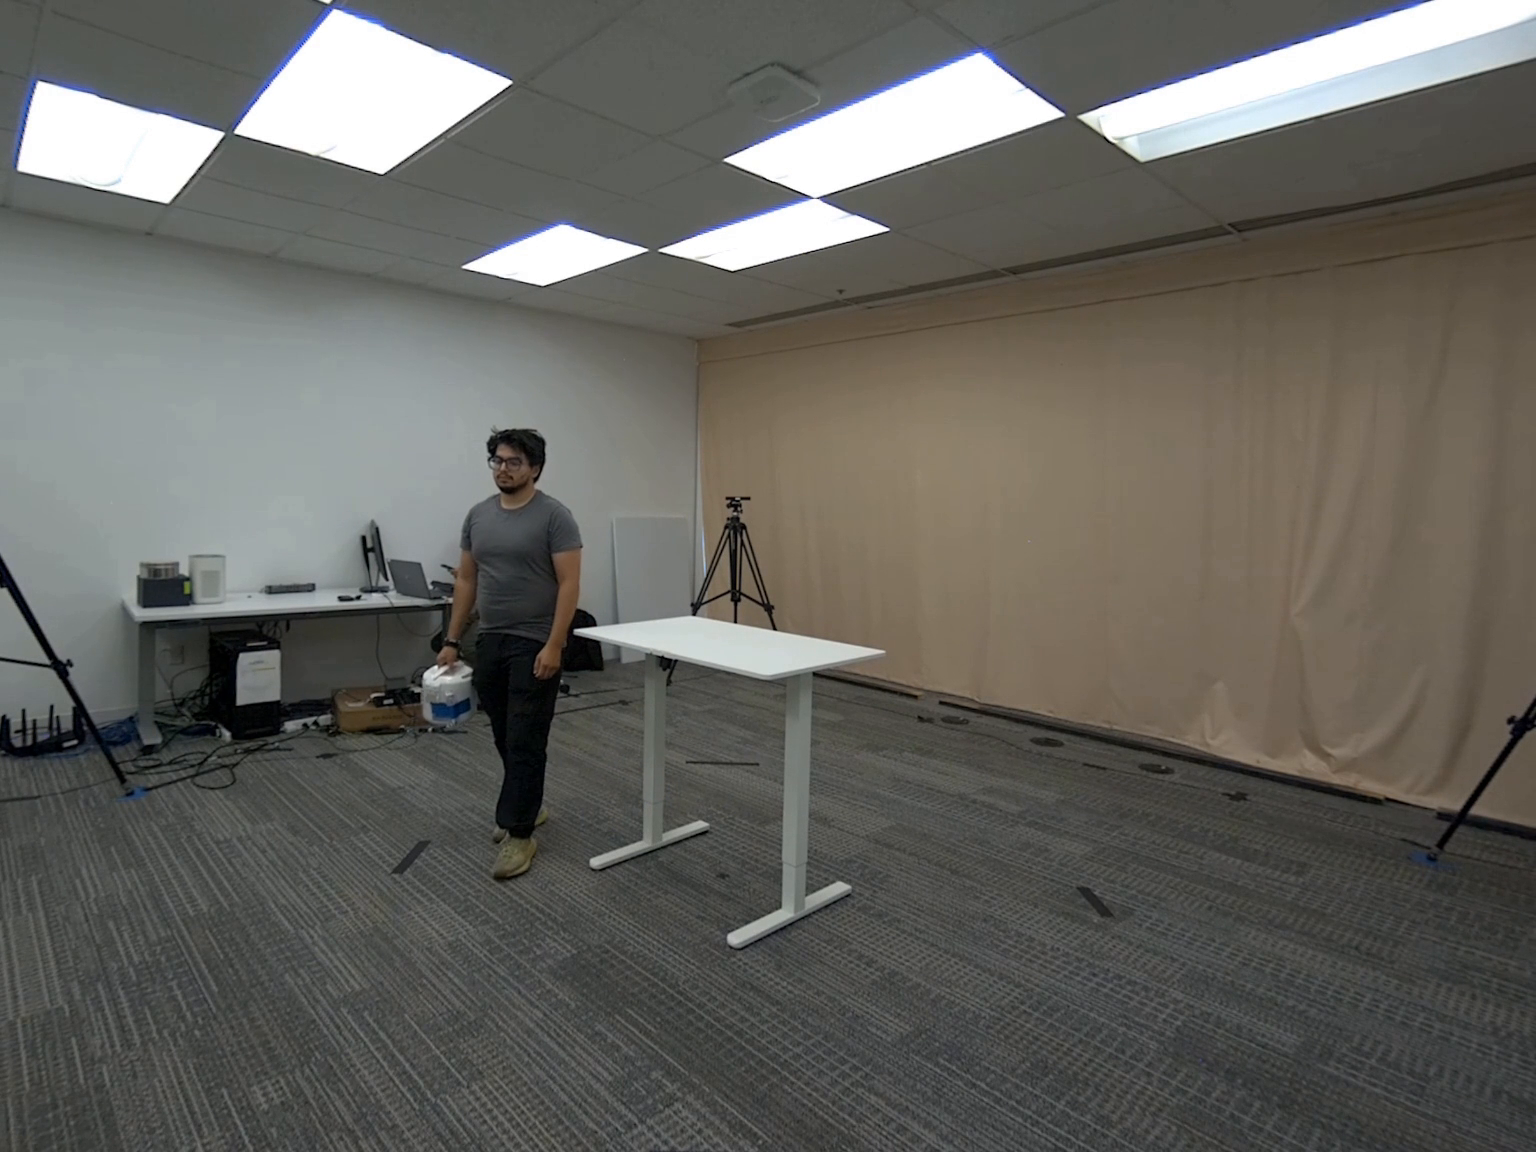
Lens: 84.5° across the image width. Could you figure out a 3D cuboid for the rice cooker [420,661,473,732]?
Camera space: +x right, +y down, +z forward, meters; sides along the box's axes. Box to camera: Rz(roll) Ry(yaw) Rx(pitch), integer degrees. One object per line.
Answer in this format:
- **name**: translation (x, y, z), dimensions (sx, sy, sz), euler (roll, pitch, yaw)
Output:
- **rice cooker**: translation (-1.282, 0.461, 3.382), dimensions (0.221, 0.231, 0.218), euler (10, 13, 21)
